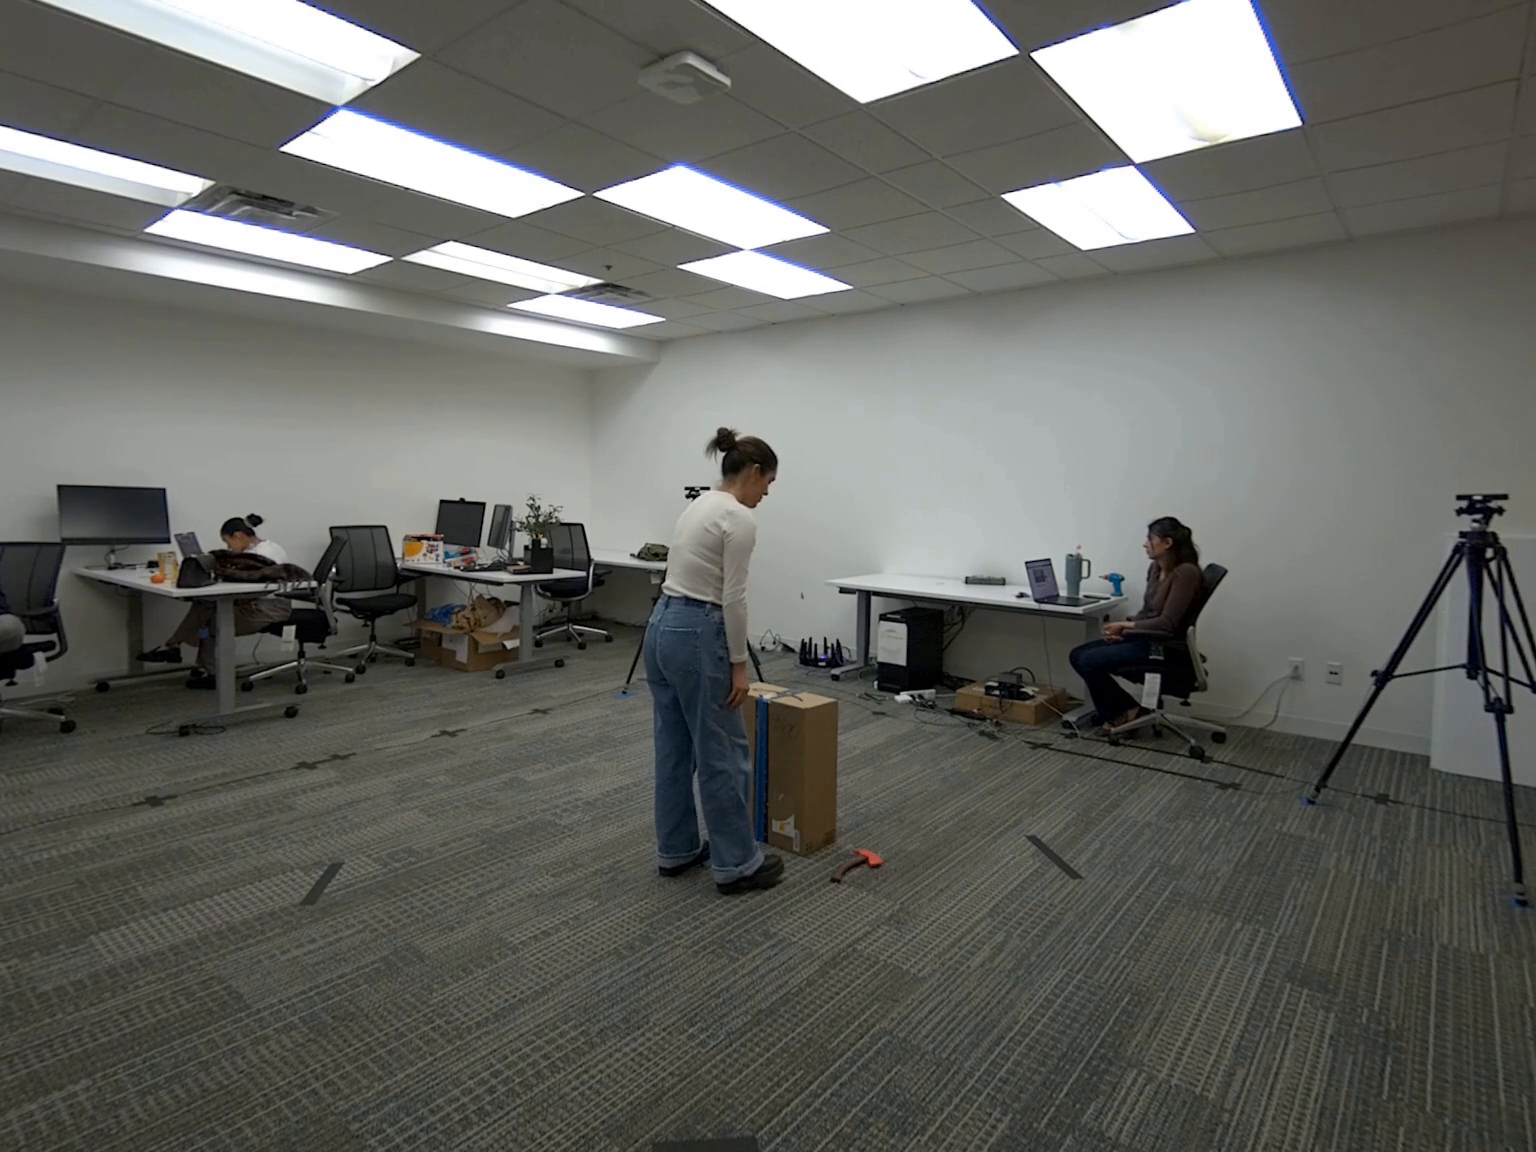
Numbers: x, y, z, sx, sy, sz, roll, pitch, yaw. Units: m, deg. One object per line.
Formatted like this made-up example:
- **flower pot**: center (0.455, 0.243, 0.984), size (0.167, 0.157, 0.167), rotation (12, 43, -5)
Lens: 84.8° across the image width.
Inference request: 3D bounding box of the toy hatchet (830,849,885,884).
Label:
- **toy hatchet**: center (0.323, 1.066, 3.104), size (0.135, 0.029, 0.264), rotation (5, 8, 26)
